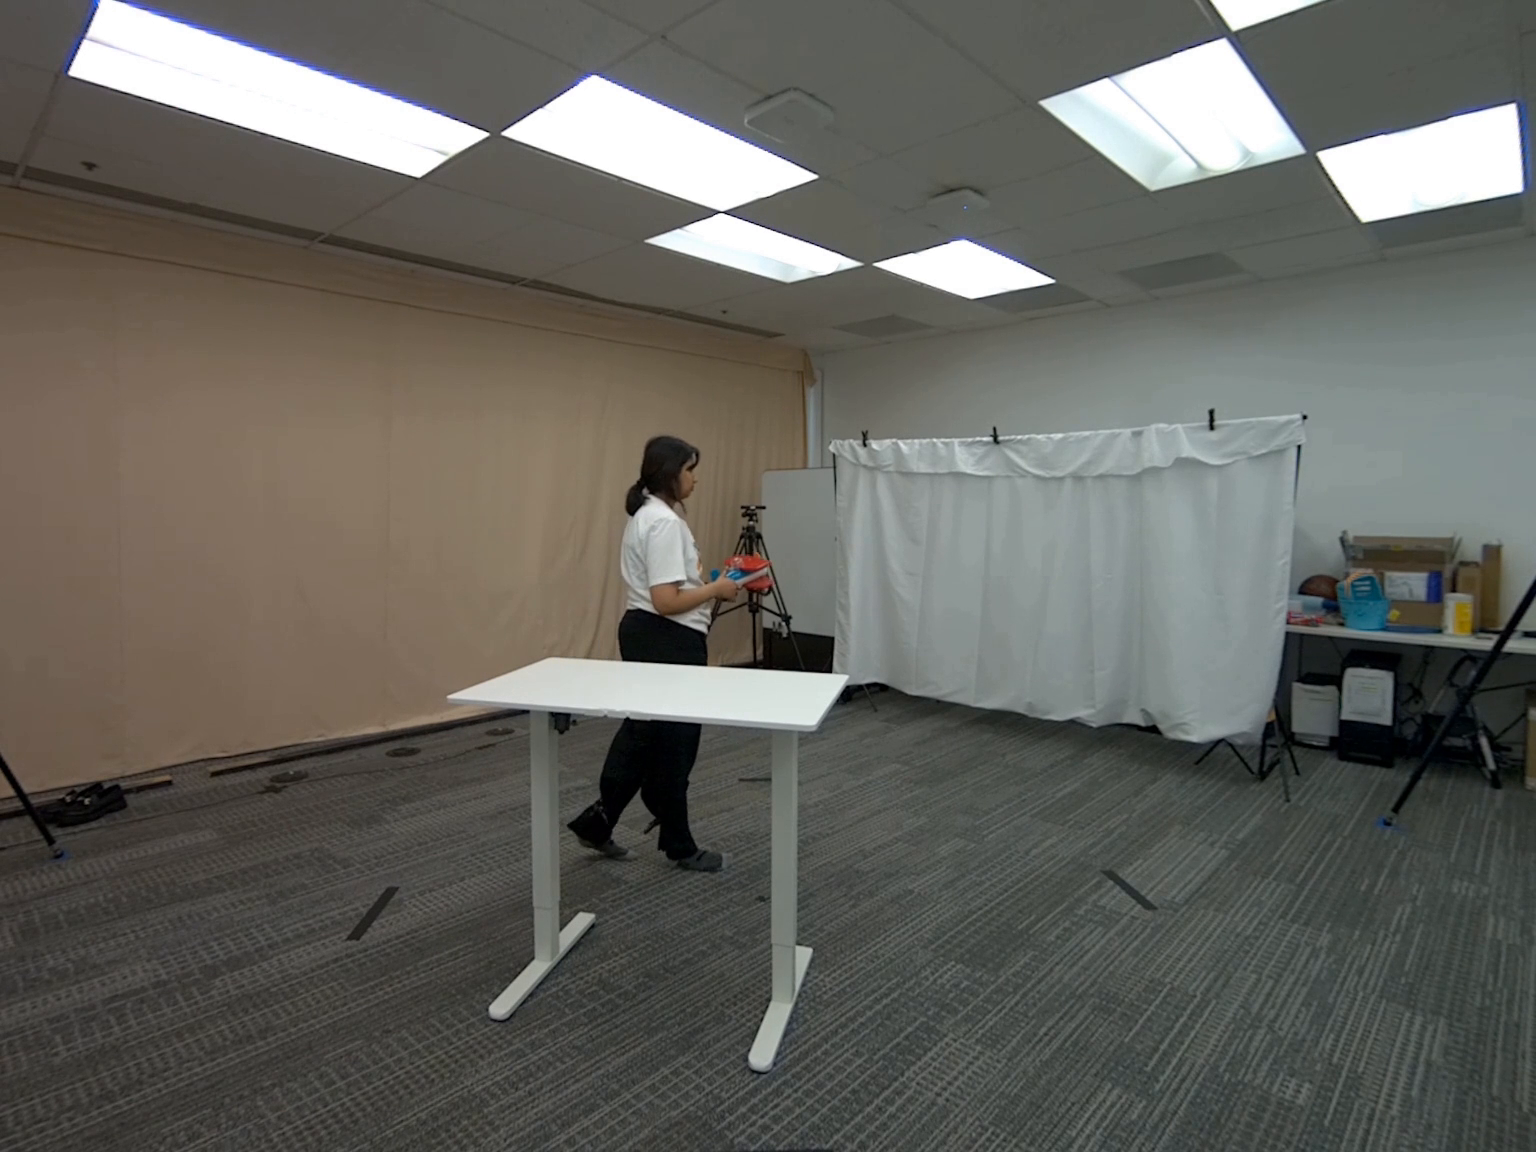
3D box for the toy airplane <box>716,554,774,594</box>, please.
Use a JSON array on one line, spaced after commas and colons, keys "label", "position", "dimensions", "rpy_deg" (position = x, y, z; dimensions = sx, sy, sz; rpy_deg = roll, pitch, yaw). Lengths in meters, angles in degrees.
[{"label": "toy airplane", "position": [-0.104, 0.015, 3.301], "dimensions": [0.258, 0.155, 0.254], "rpy_deg": [3, 12, 29]}]
